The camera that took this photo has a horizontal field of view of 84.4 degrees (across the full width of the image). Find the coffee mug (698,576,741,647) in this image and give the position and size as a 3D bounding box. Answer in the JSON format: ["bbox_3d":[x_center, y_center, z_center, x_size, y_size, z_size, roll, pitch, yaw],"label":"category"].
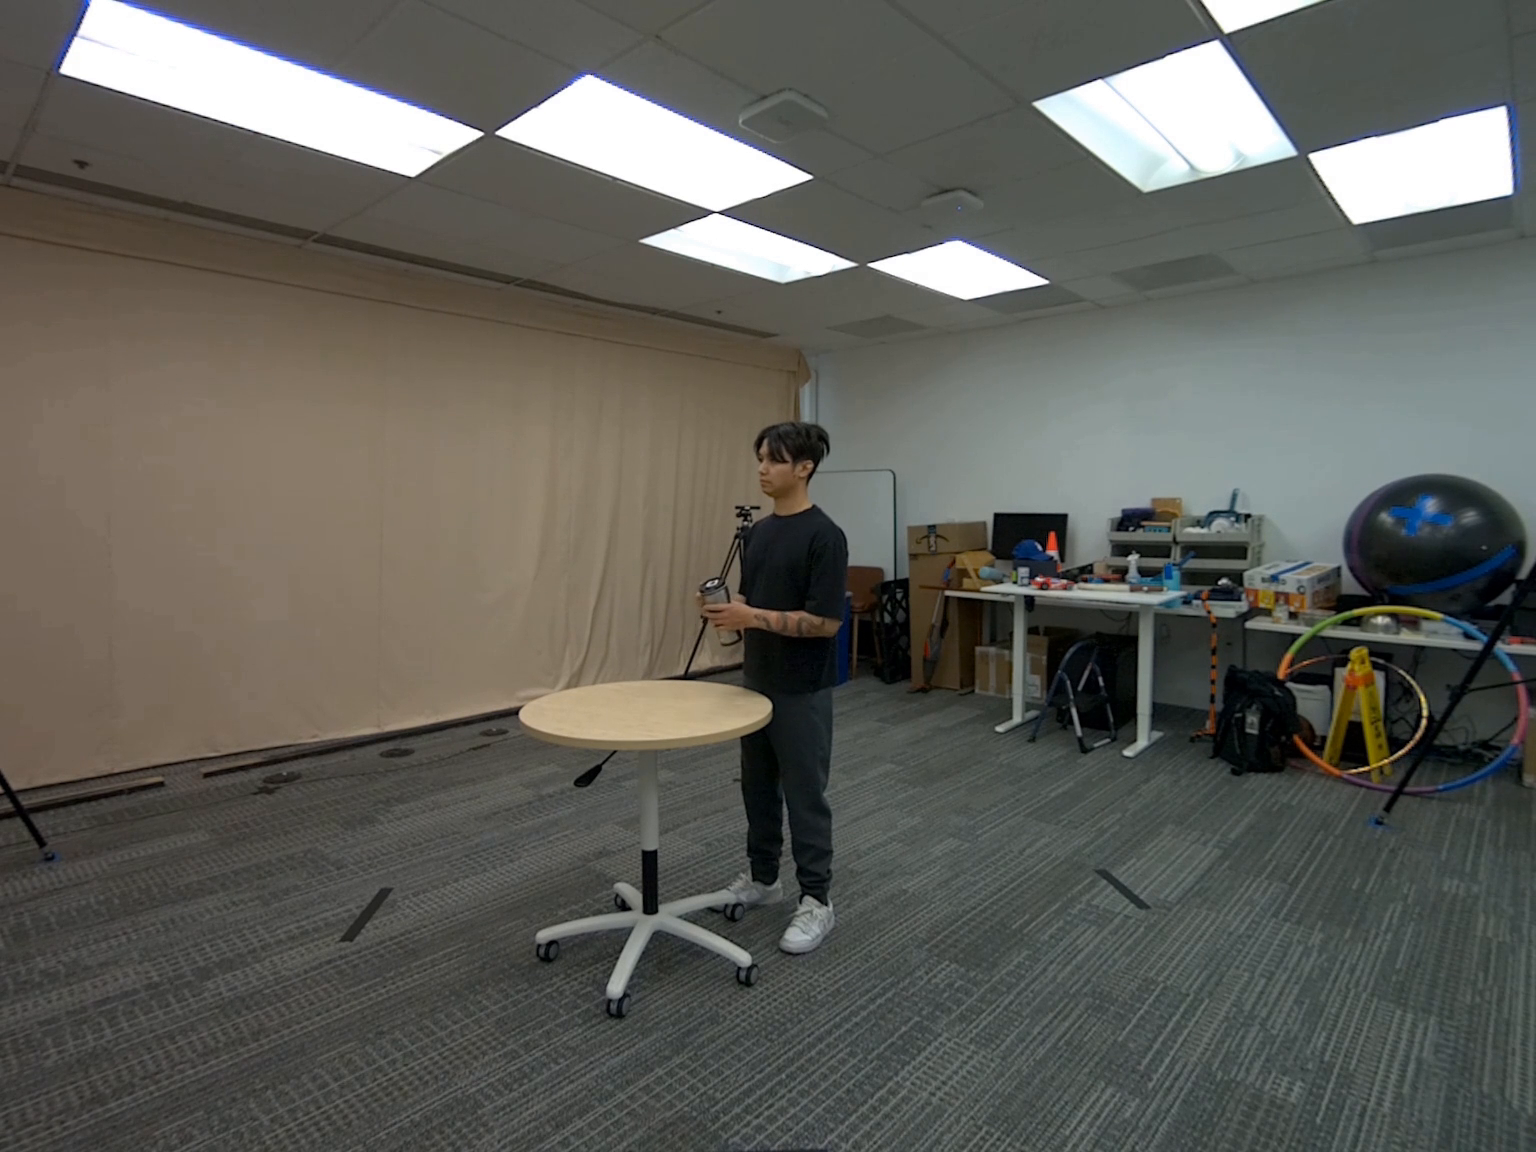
[{"bbox_3d":[-0.142,0.114,2.659,0.090,0.201,0.120,-11,12,38],"label":"coffee mug"}]
